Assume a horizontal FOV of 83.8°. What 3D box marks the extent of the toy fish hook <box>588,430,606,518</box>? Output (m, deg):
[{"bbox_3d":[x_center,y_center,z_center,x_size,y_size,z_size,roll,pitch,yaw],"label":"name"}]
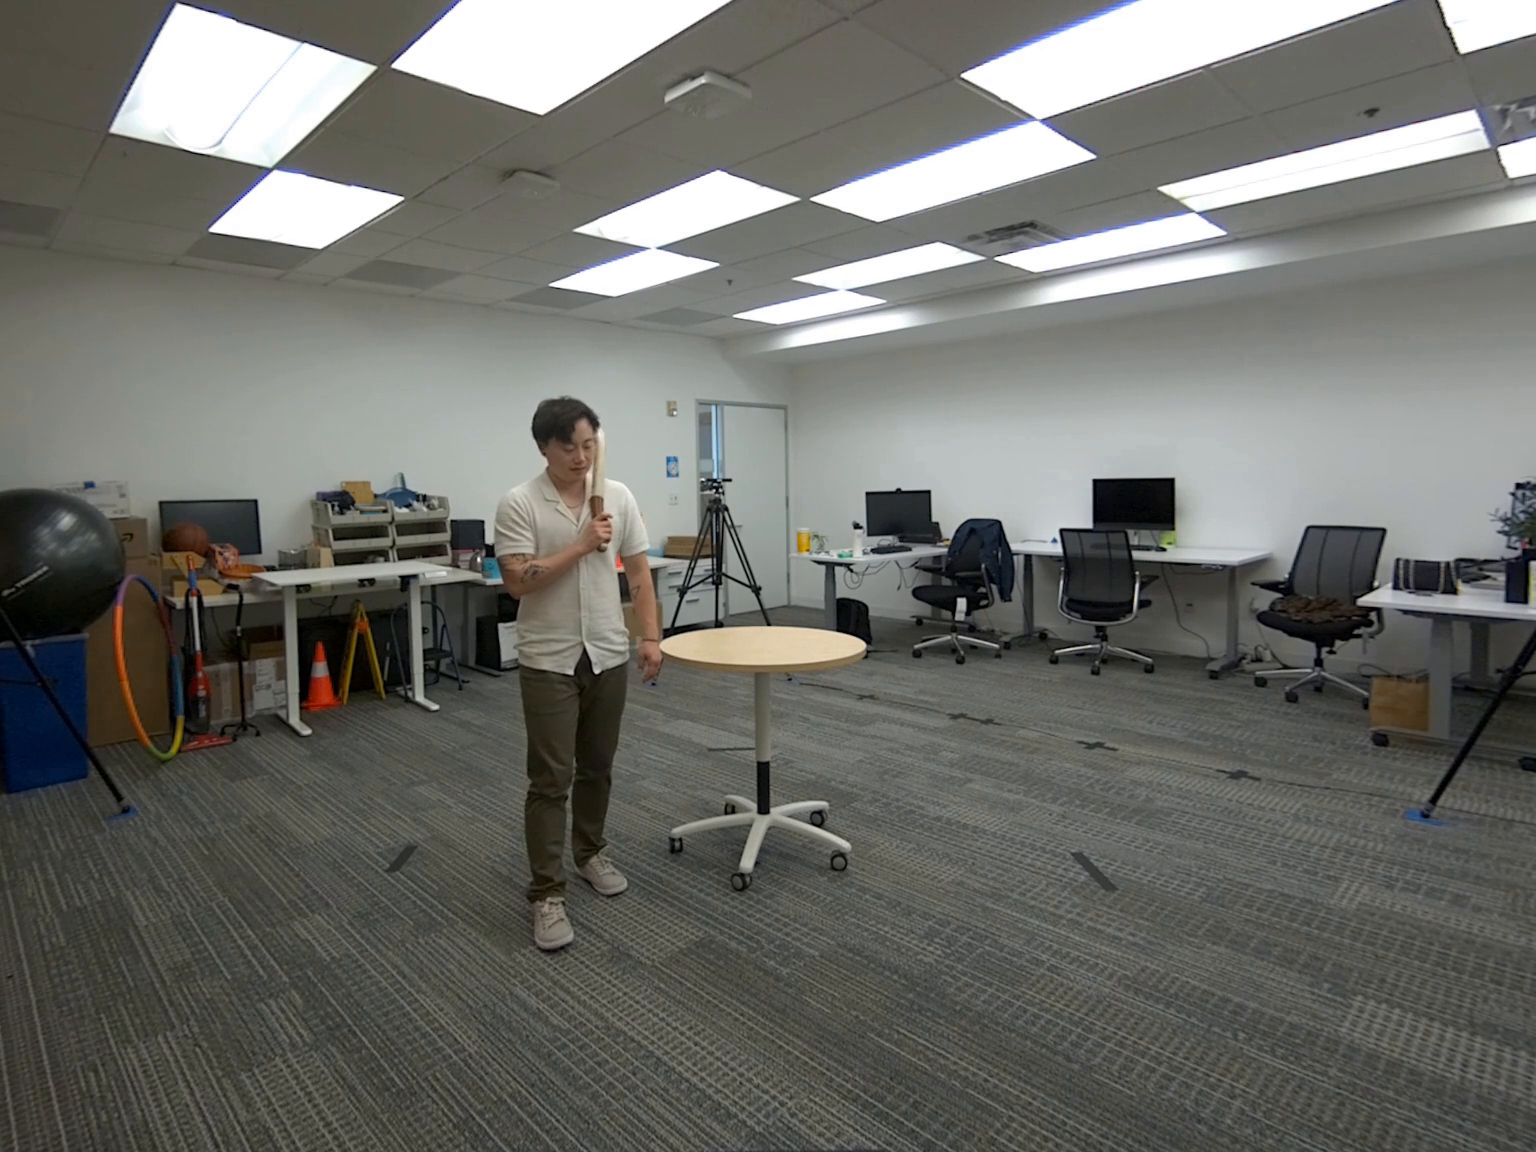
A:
[{"bbox_3d":[-0.607,-0.278,2.862,0.047,0.519,0.225,12,-33,-31],"label":"toy fish hook"}]
